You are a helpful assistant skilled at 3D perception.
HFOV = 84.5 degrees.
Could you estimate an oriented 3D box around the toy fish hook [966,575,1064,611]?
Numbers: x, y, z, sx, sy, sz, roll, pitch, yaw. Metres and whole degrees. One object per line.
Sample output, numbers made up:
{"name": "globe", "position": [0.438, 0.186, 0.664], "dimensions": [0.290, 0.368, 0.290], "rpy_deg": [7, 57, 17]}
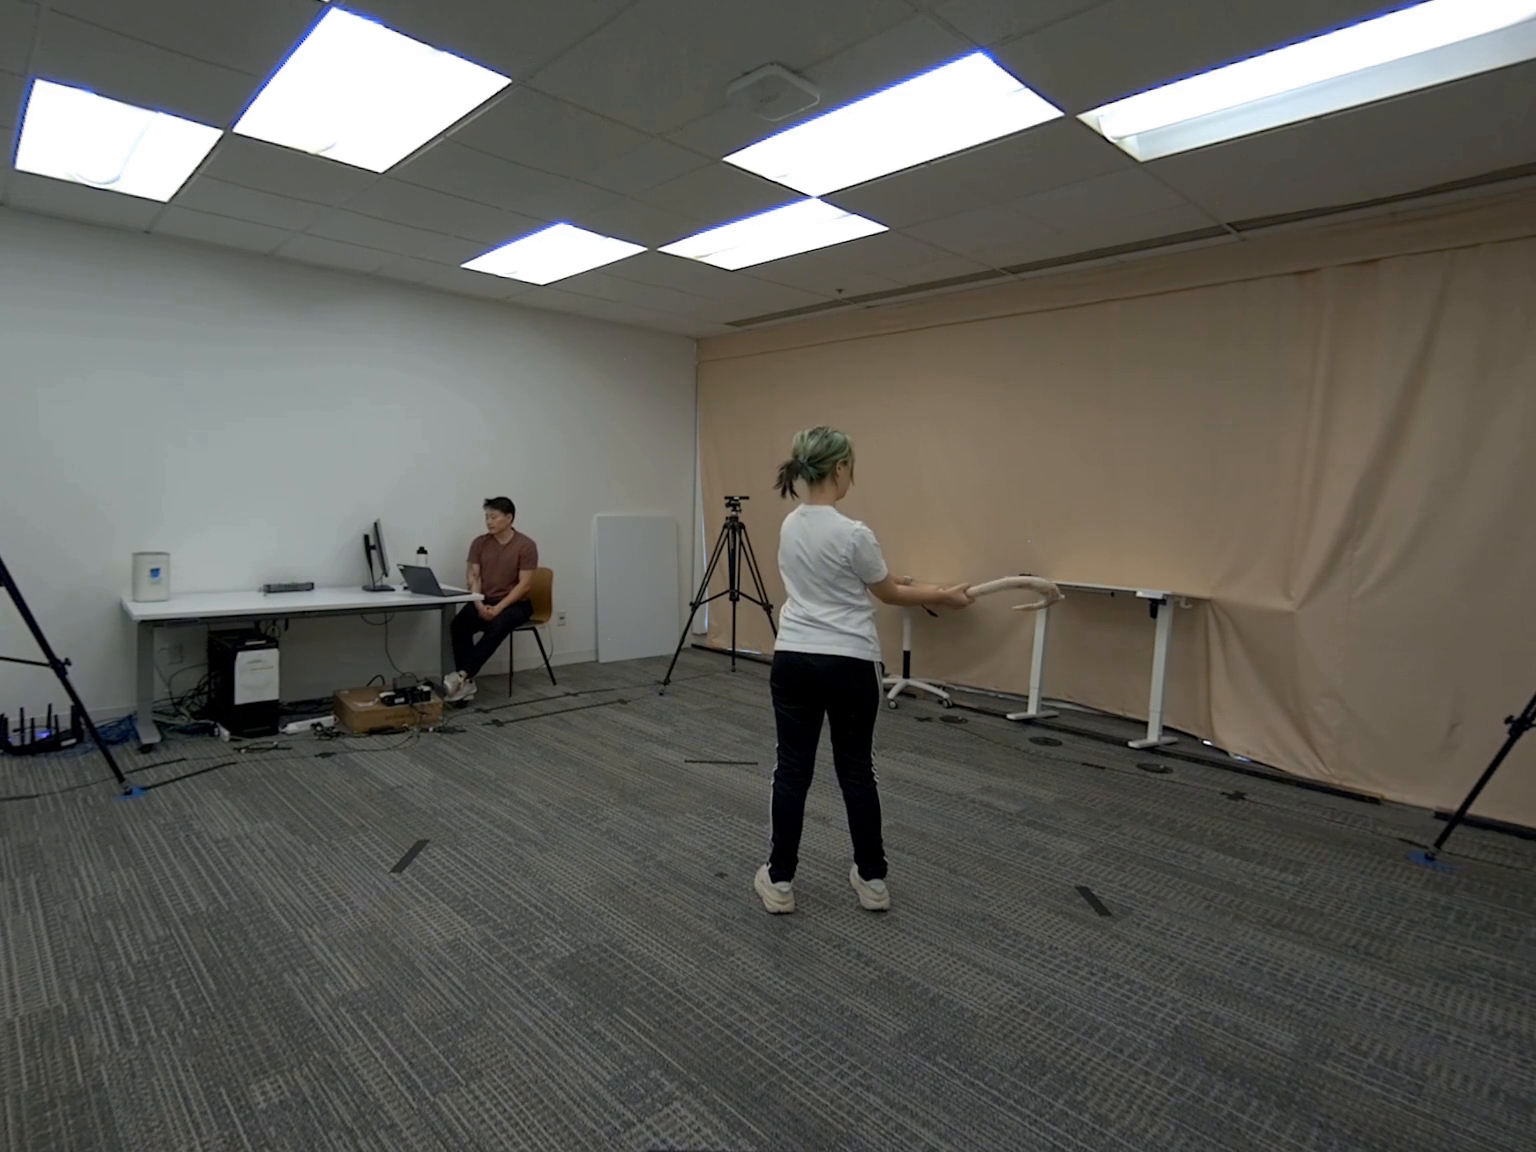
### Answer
{"name": "toy fish hook", "position": [0.766, 0.083, 3.009], "dimensions": [0.516, 0.049, 0.218], "rpy_deg": [-8, -39, 39]}
